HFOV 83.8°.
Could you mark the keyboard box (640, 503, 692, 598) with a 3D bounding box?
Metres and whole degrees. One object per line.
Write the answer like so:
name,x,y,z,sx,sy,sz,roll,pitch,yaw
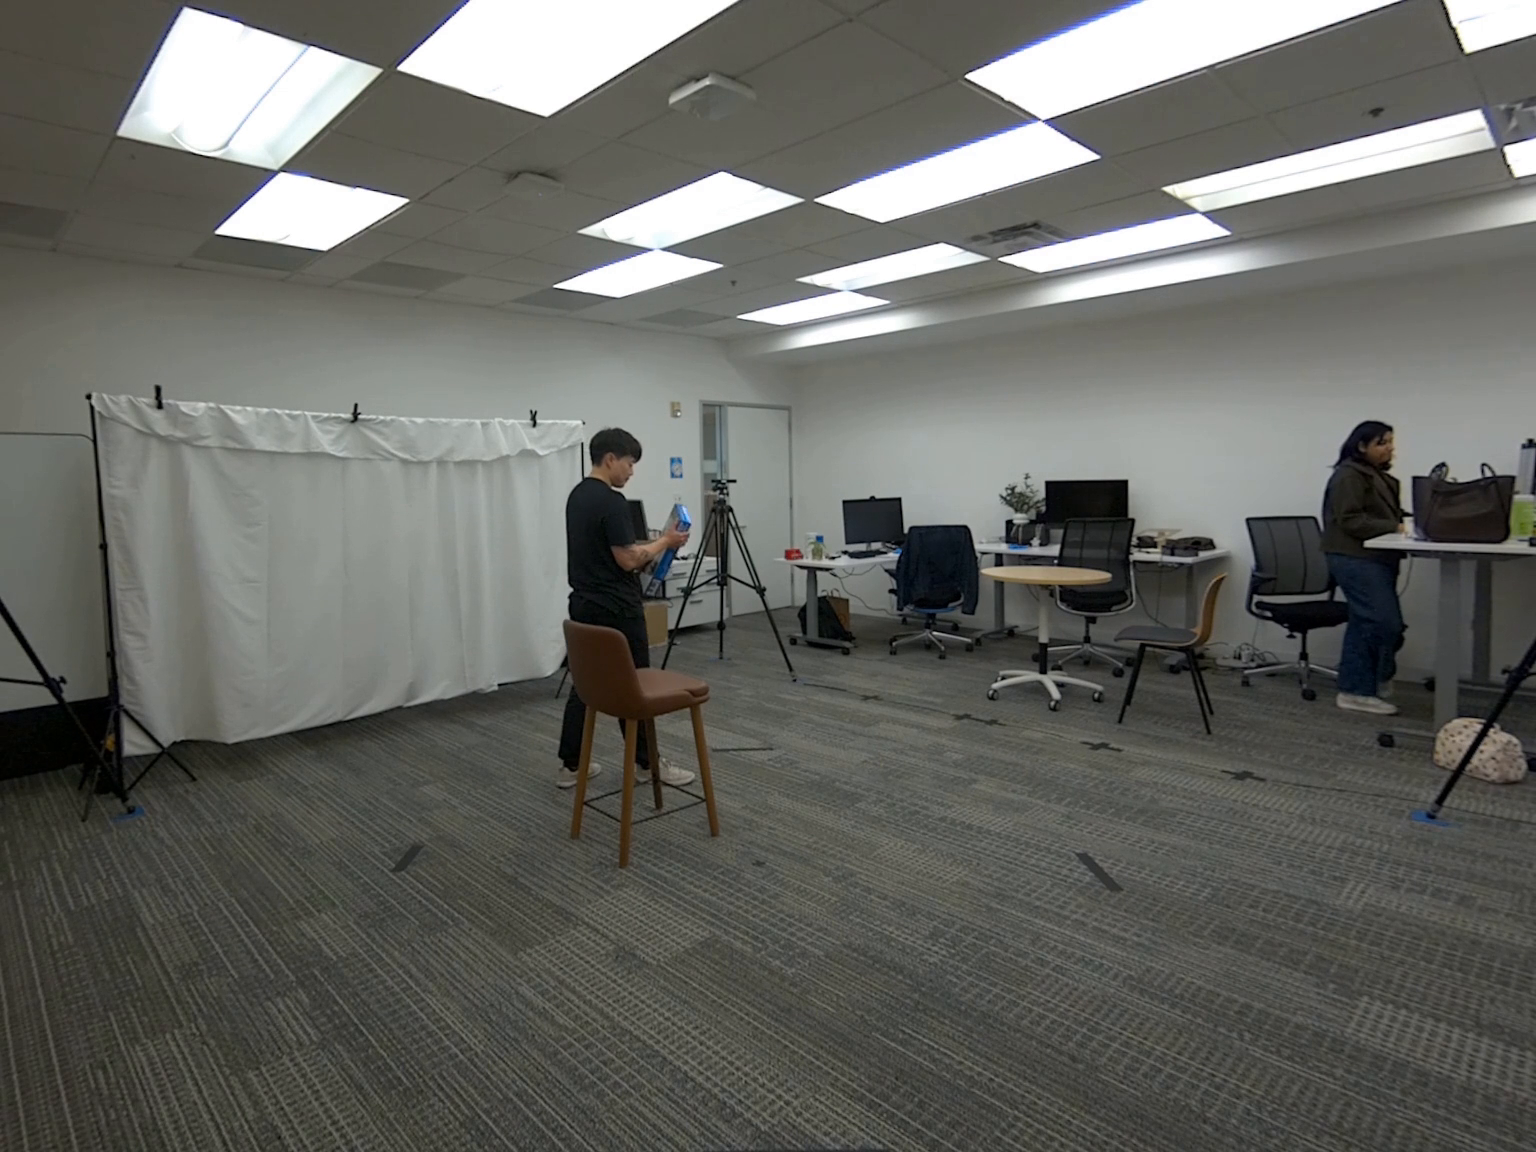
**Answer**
keyboard box,-0.496,-0.123,4.091,0.057,0.433,0.182,18,25,-25
